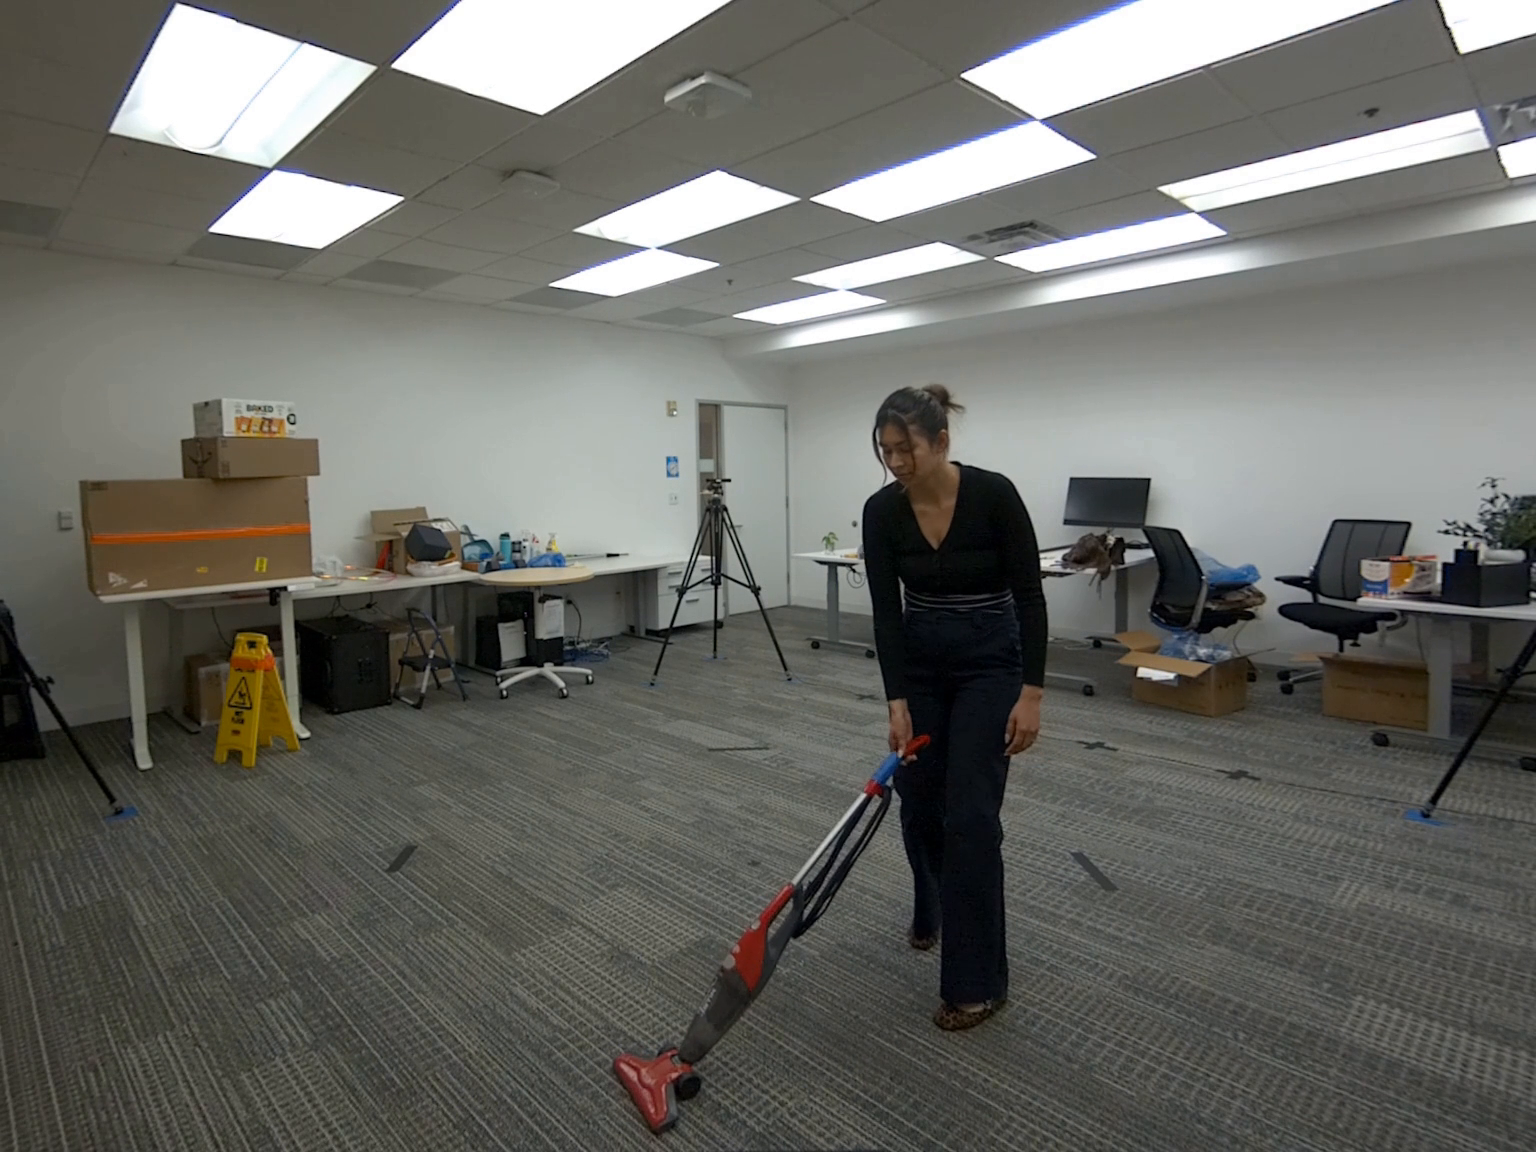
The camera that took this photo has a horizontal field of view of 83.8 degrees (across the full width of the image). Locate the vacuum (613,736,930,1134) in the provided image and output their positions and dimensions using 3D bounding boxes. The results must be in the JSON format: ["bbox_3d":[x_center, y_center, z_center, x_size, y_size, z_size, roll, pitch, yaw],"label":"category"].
[{"bbox_3d":[0.090,0.825,2.123,1.048,0.140,0.260,-45,29,-19],"label":"vacuum"}]
